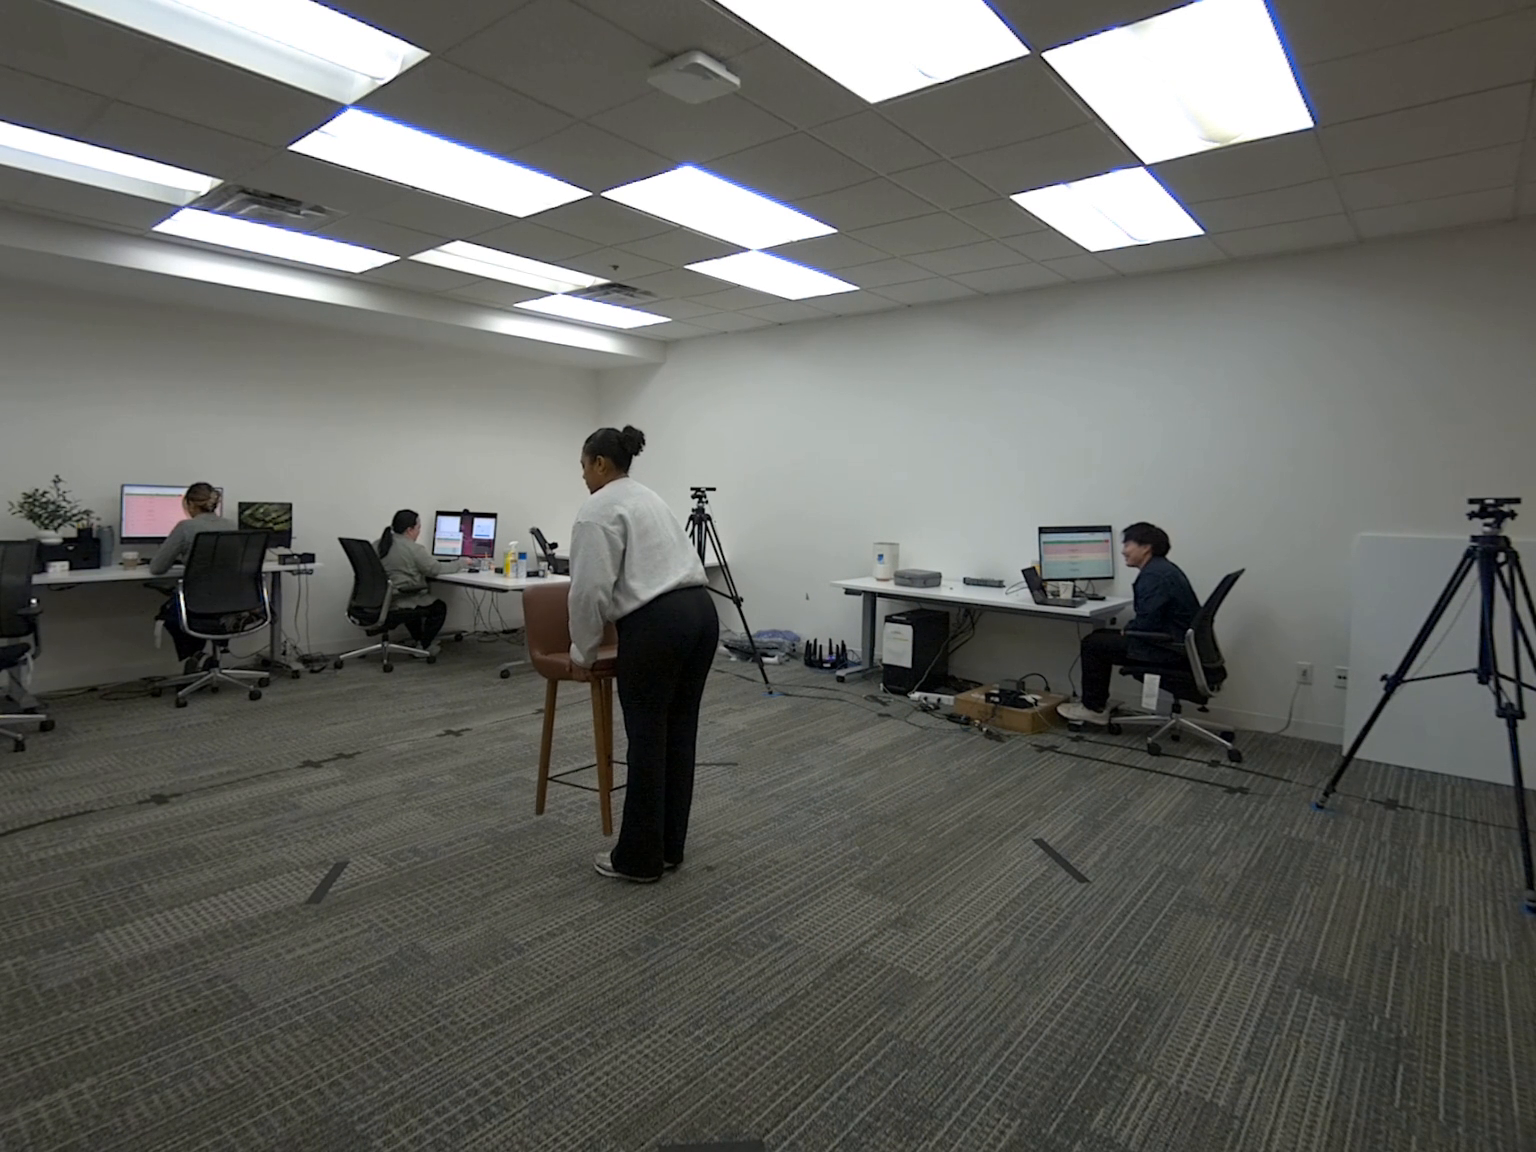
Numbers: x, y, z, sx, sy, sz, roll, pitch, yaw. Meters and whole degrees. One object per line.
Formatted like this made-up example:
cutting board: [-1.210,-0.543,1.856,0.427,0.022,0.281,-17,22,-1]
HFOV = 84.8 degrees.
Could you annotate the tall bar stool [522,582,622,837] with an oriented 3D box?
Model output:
tall bar stool: [-0.659,0.463,3.256,0.481,0.892,0.443,-6,-2,41]
